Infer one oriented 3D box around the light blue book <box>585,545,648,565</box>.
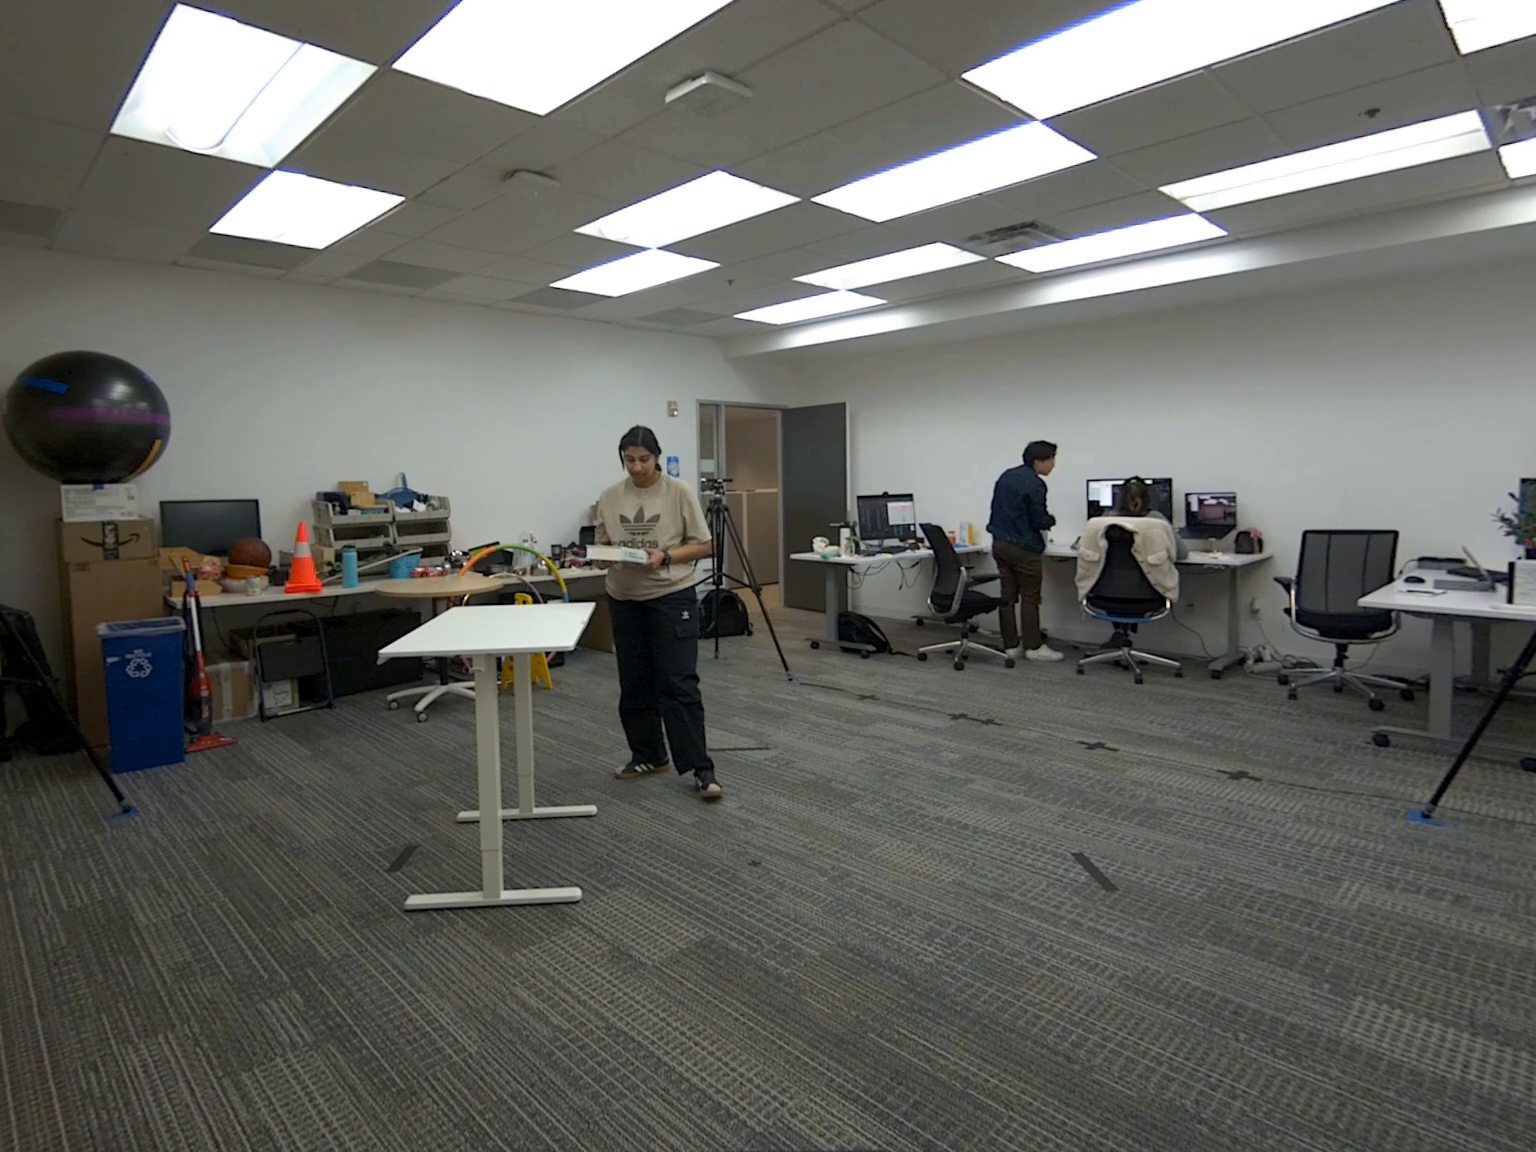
[{"bbox_3d":[-0.668,-0.095,3.733,0.258,0.059,0.193,3,-1,-12],"label":"light blue book"}]
